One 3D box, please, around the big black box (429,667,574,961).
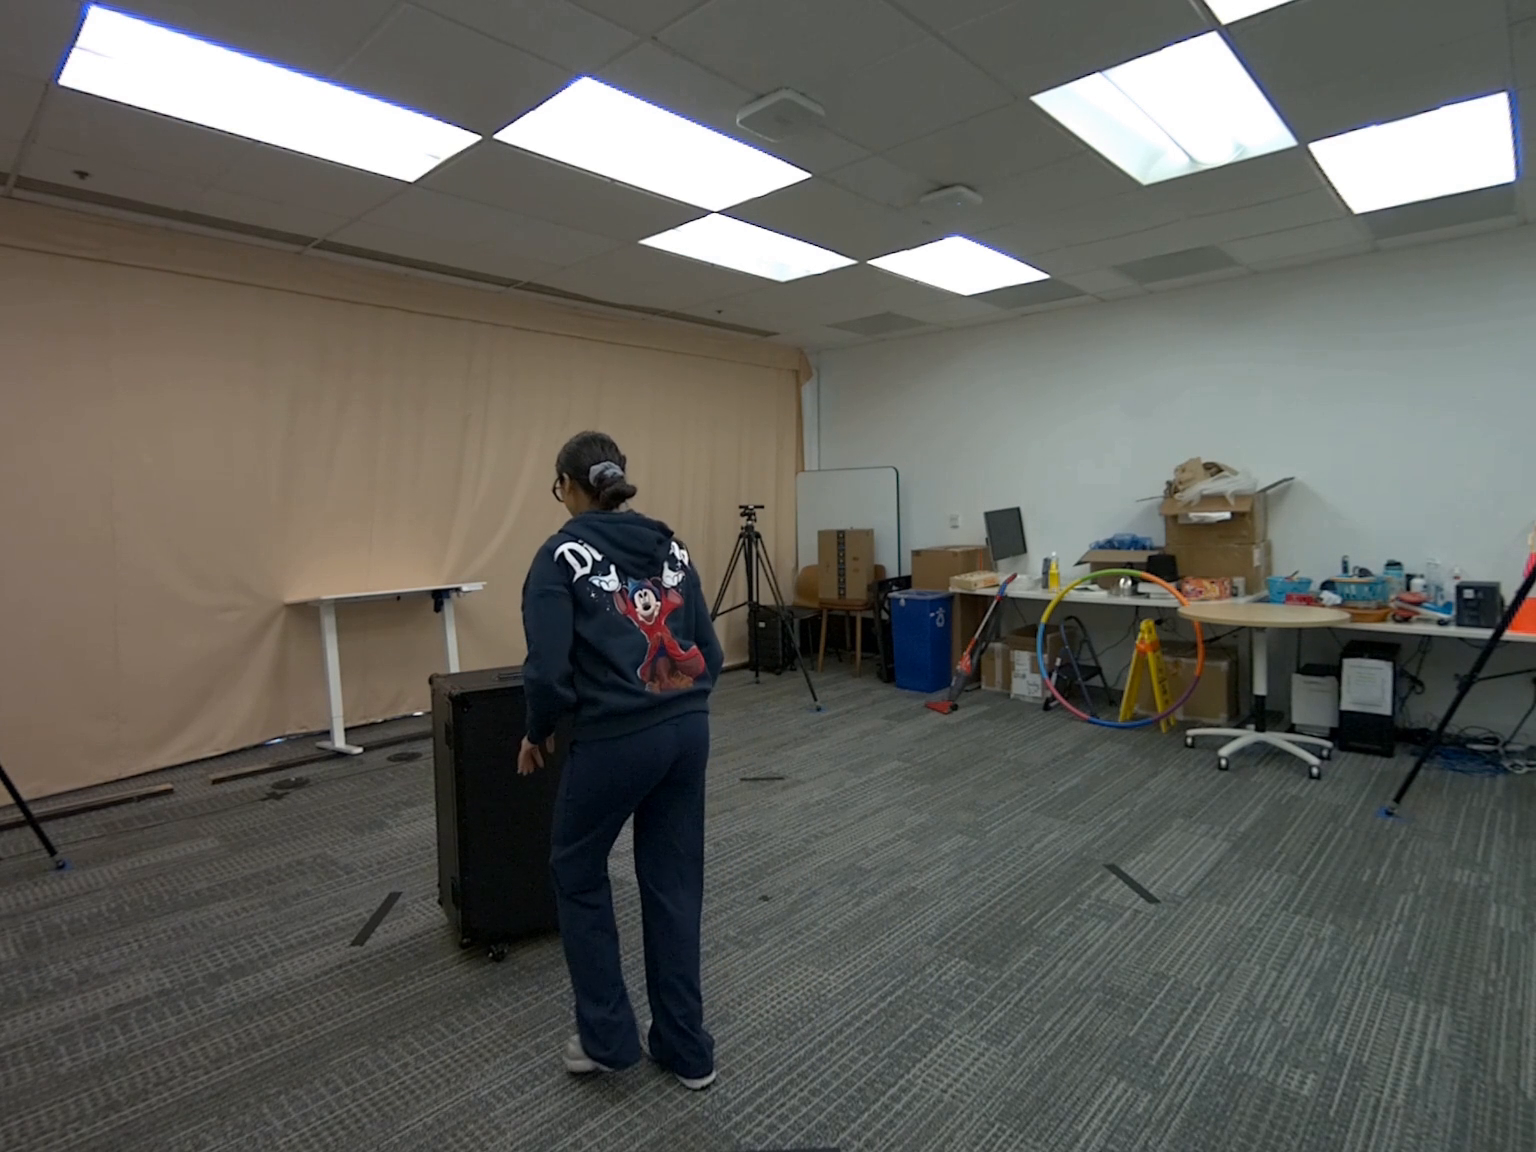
[{"bbox_3d":[-0.838,0.752,2.802,0.508,0.860,0.407,-3,2,-30],"label":"big black box"}]
